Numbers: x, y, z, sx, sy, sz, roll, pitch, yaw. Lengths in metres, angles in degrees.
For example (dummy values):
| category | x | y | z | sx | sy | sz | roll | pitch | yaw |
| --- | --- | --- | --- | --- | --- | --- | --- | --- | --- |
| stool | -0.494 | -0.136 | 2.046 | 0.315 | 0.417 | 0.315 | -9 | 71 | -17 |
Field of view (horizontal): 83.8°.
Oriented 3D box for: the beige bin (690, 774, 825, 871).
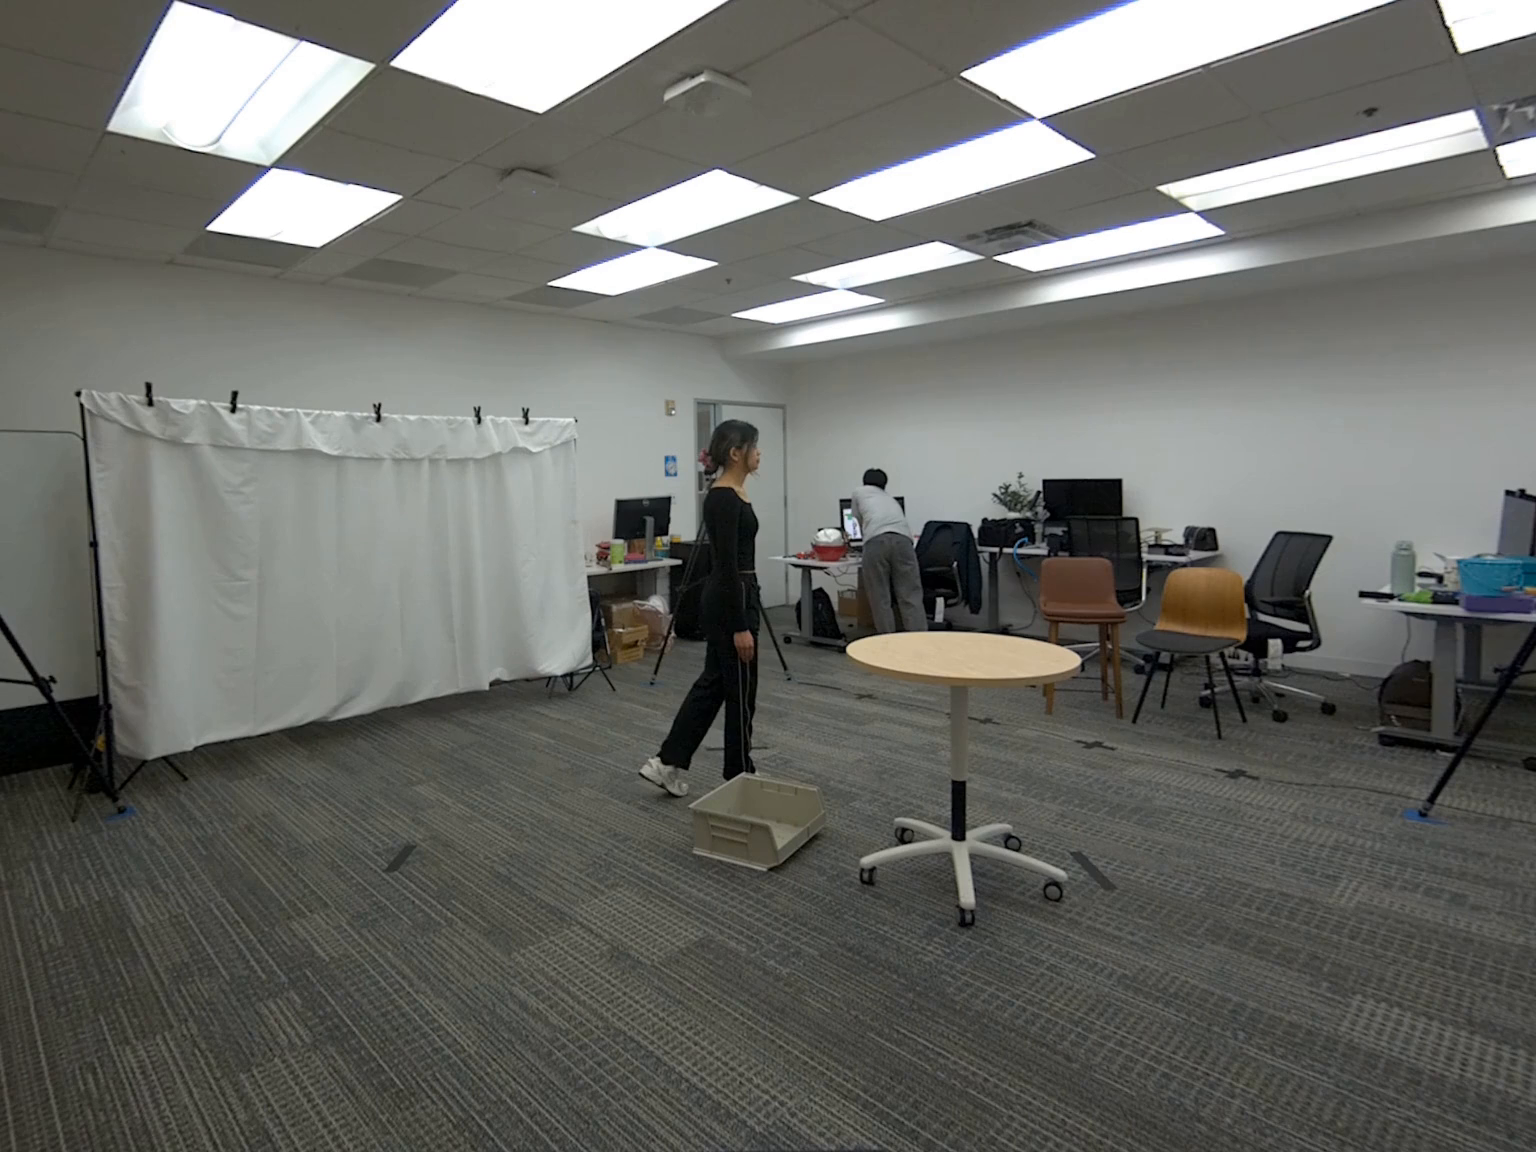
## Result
| category | x | y | z | sx | sy | sz | roll | pitch | yaw |
| --- | --- | --- | --- | --- | --- | --- | --- | --- | --- |
| beige bin | -0.032 | 0.935 | 3.271 | 0.387 | 0.188 | 0.413 | 1 | 7 | 29 |
